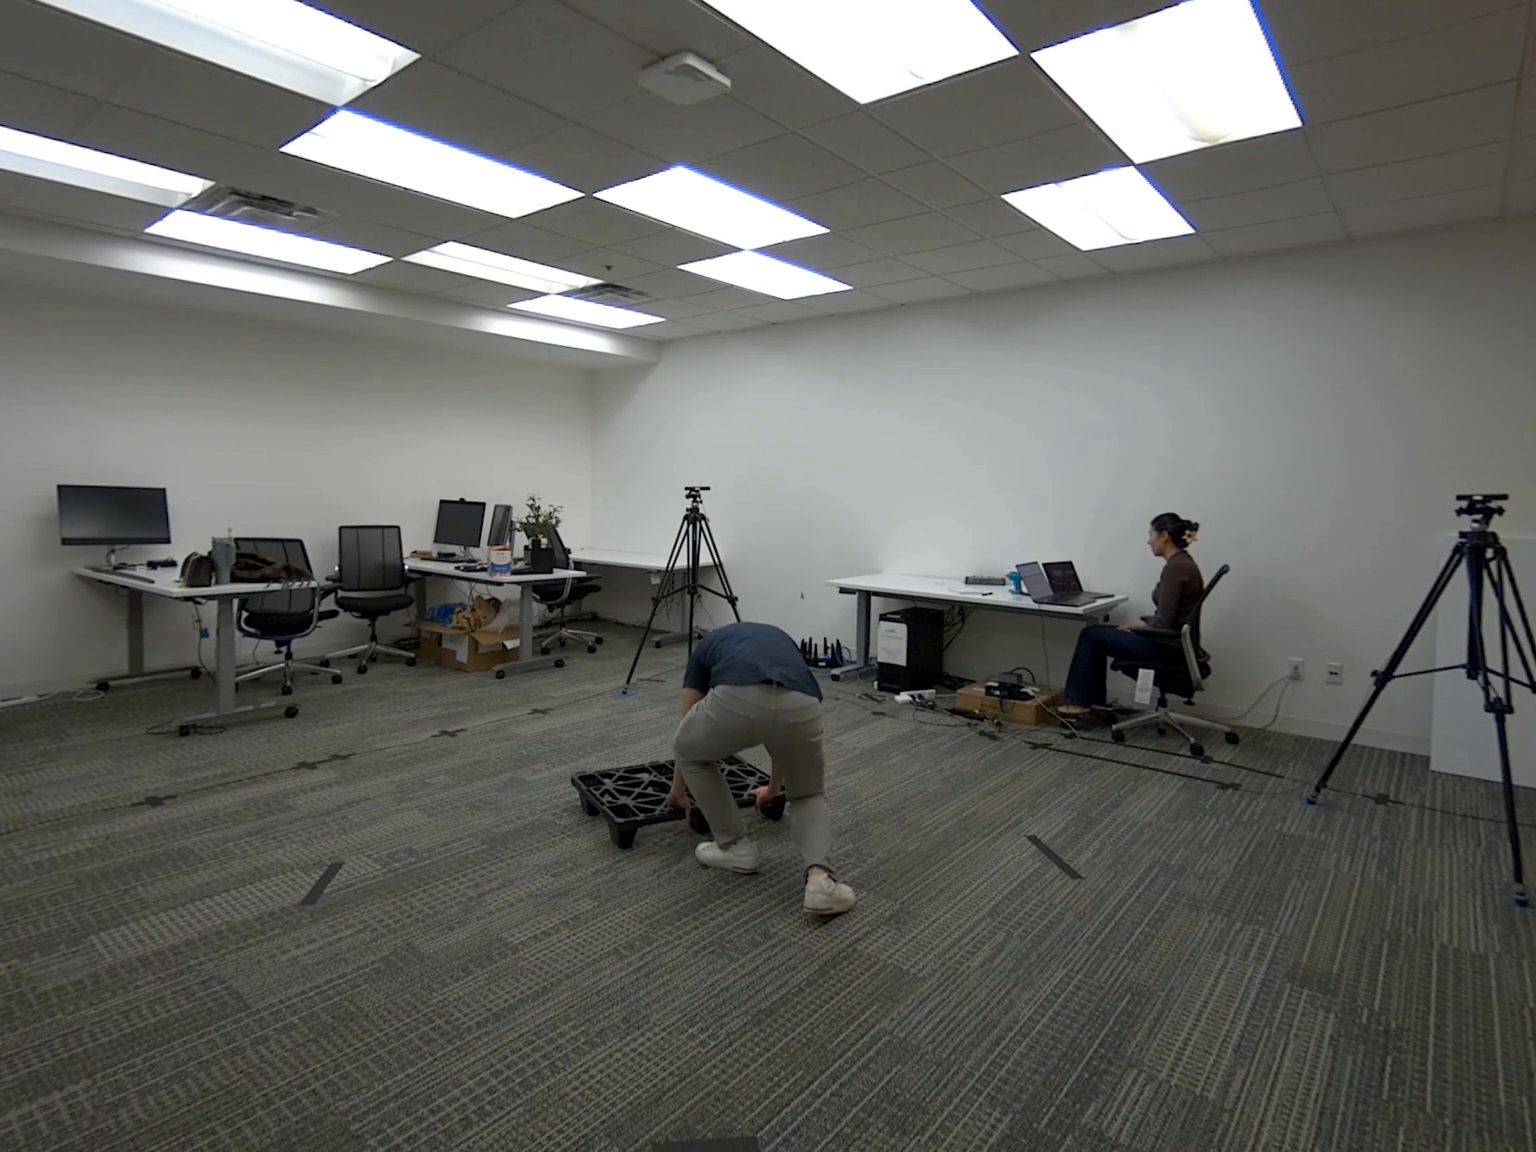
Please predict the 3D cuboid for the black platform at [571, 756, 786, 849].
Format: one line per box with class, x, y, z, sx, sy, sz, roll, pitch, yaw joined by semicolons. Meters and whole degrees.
black platform;-0.389;0.943;3.632;0.785;0.143;0.623;-2;6;-29
